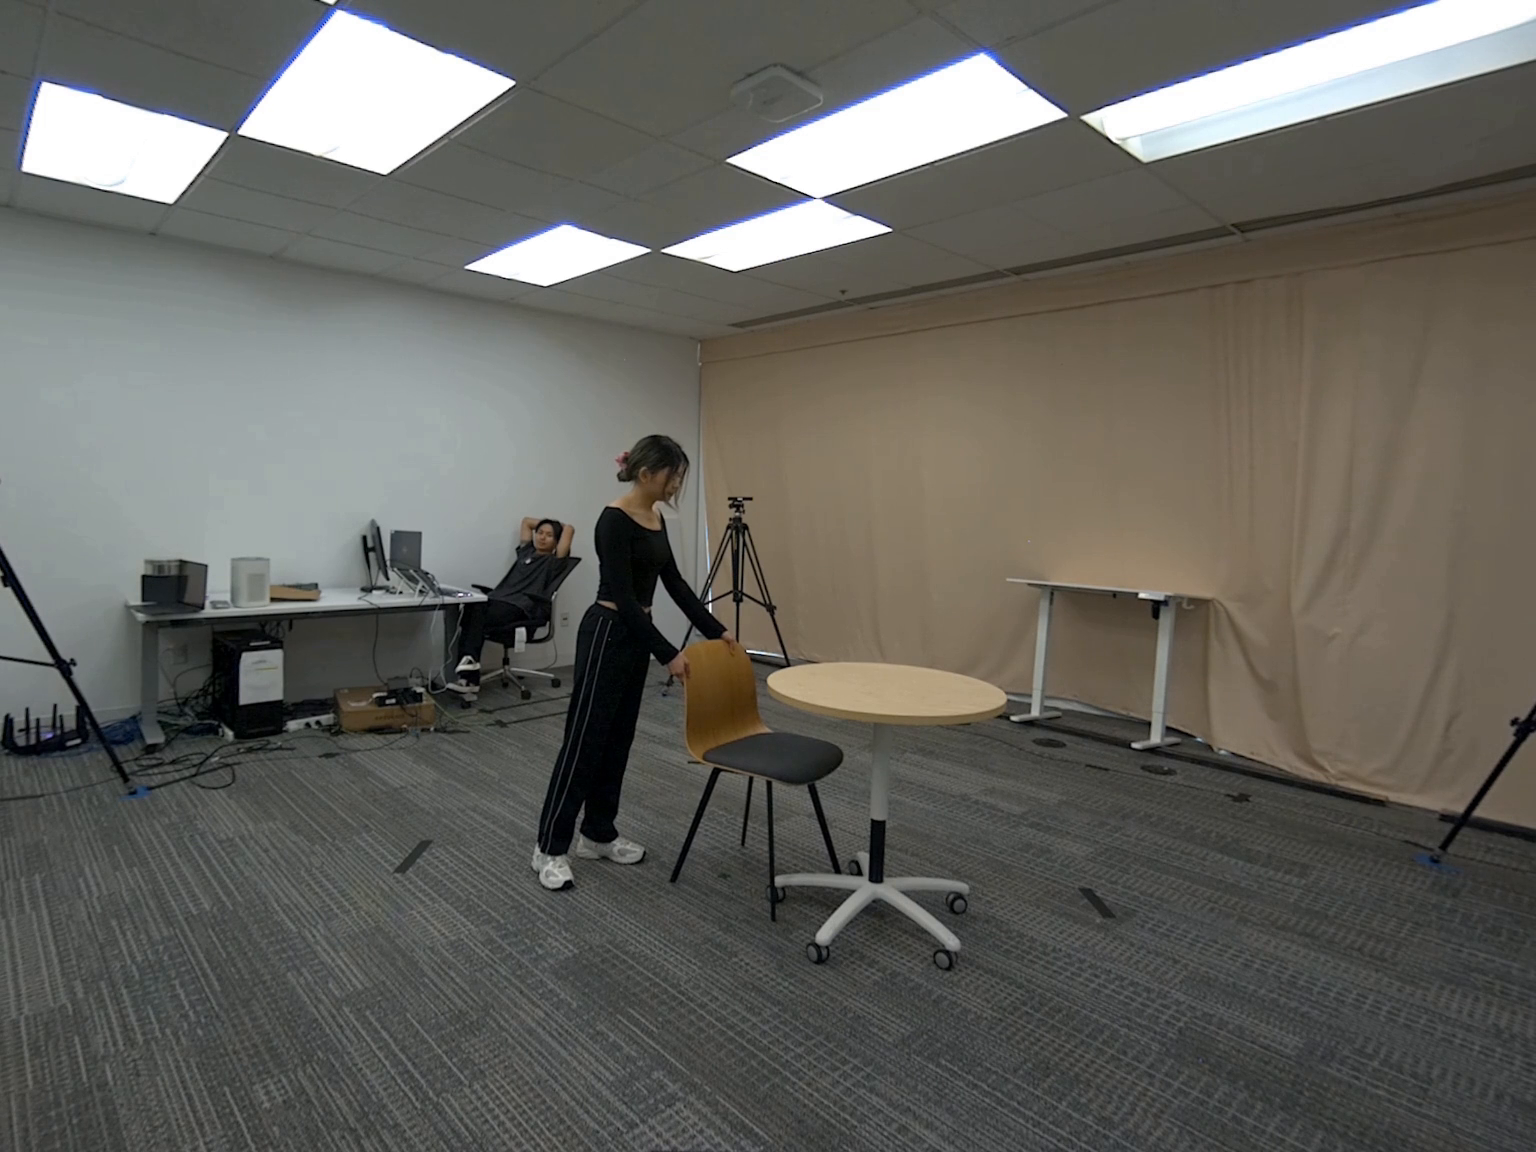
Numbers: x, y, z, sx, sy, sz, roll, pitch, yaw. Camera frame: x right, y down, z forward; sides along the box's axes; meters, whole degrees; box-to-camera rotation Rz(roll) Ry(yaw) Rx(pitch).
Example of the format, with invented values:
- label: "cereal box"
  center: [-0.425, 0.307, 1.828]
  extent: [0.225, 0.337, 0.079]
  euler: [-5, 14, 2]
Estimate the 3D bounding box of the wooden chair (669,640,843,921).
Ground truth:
- label: "wooden chair"
  center: [-0.032, 0.685, 3.053]
  extent: [0.535, 0.877, 0.468]
  euler: [-2, 1, 36]
